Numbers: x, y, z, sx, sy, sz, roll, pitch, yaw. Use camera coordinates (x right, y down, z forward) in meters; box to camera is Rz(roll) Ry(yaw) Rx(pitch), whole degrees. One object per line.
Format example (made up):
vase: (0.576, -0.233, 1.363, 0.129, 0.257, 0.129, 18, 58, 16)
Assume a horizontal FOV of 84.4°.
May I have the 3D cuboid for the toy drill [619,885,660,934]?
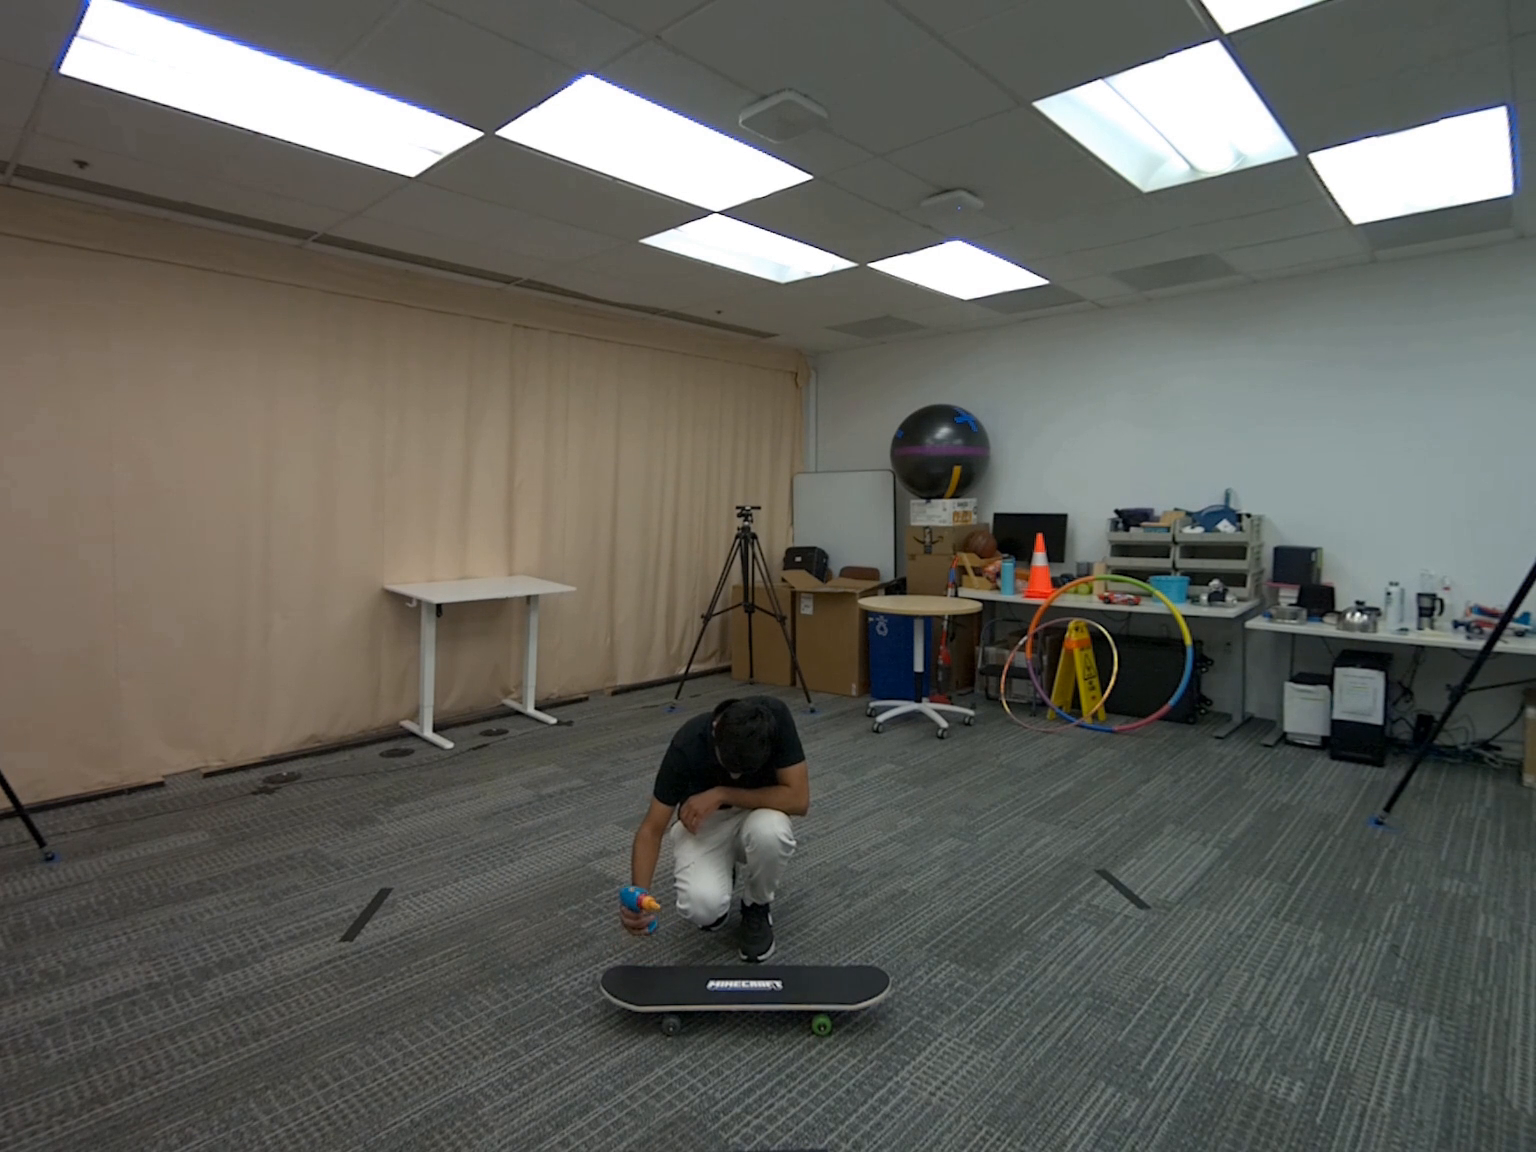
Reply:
toy drill: (-0.327, 0.917, 2.311, 0.175, 0.144, 0.060, -2, 24, 47)
